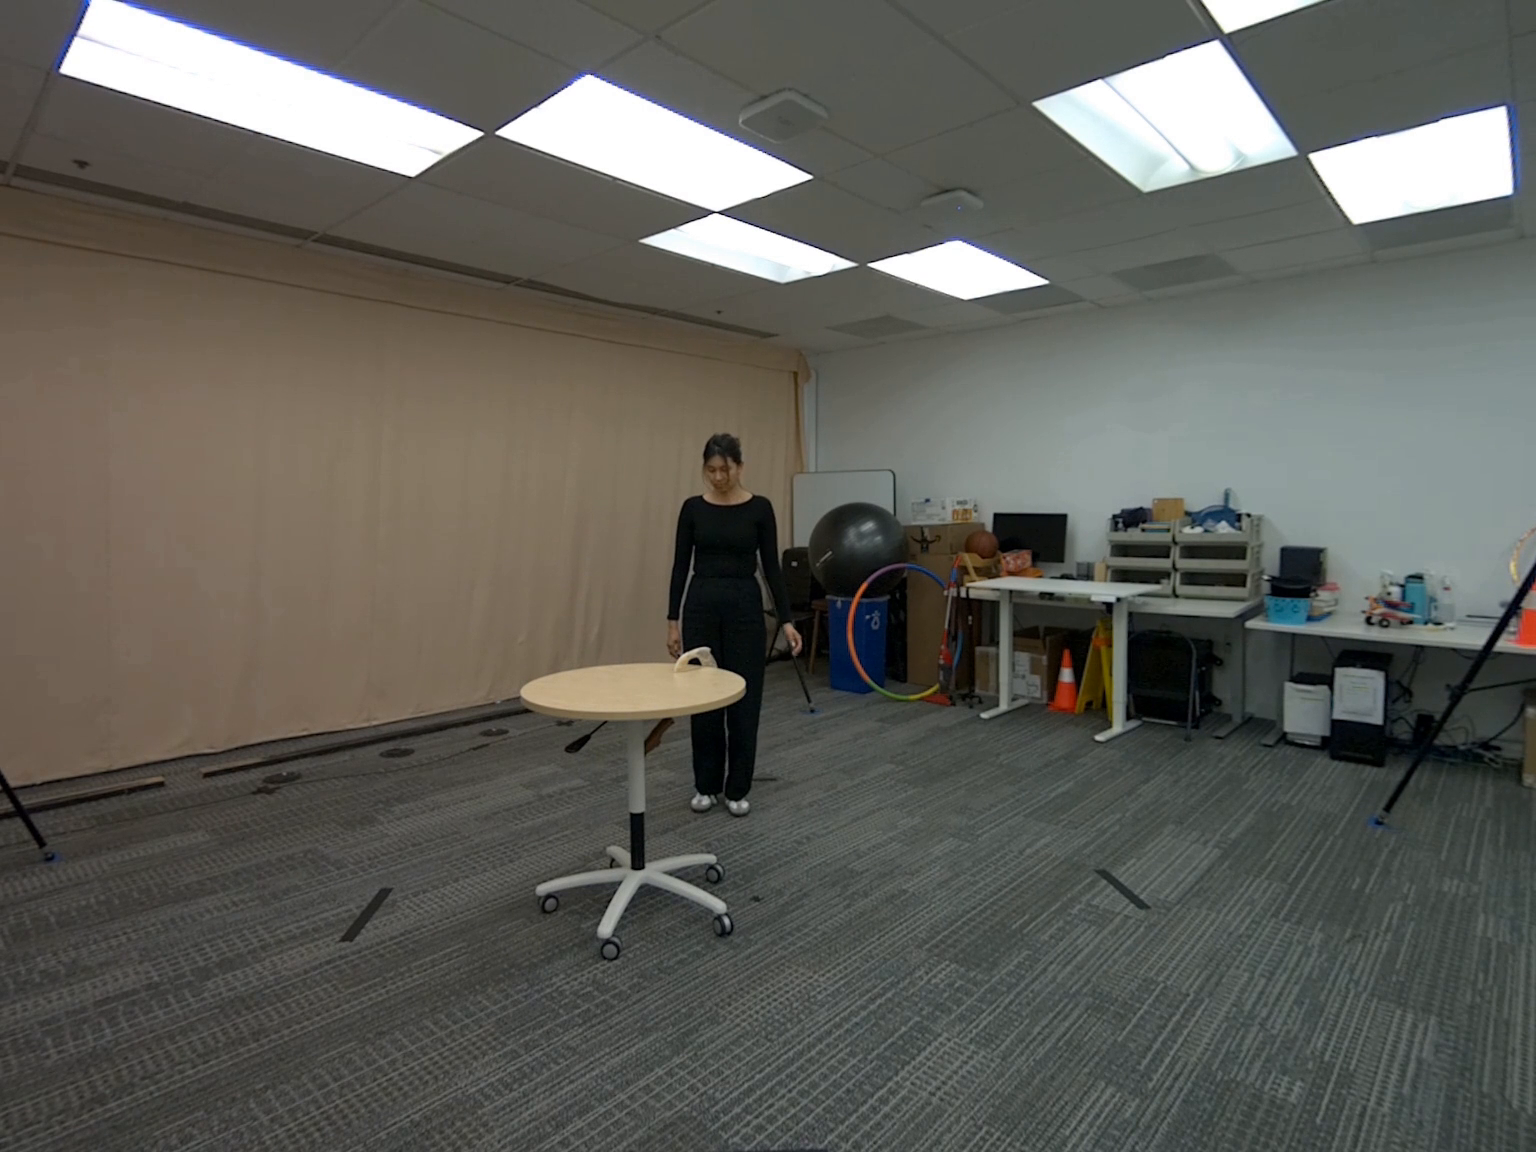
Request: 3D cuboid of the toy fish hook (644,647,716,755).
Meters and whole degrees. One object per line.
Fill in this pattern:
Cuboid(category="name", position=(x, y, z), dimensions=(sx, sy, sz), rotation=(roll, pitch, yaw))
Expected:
Cuboid(category="toy fish hook", position=(-0.346, 0.454, 3.084), dimensions=(0.050, 0.220, 0.502), rotation=(0, 33, 38))
